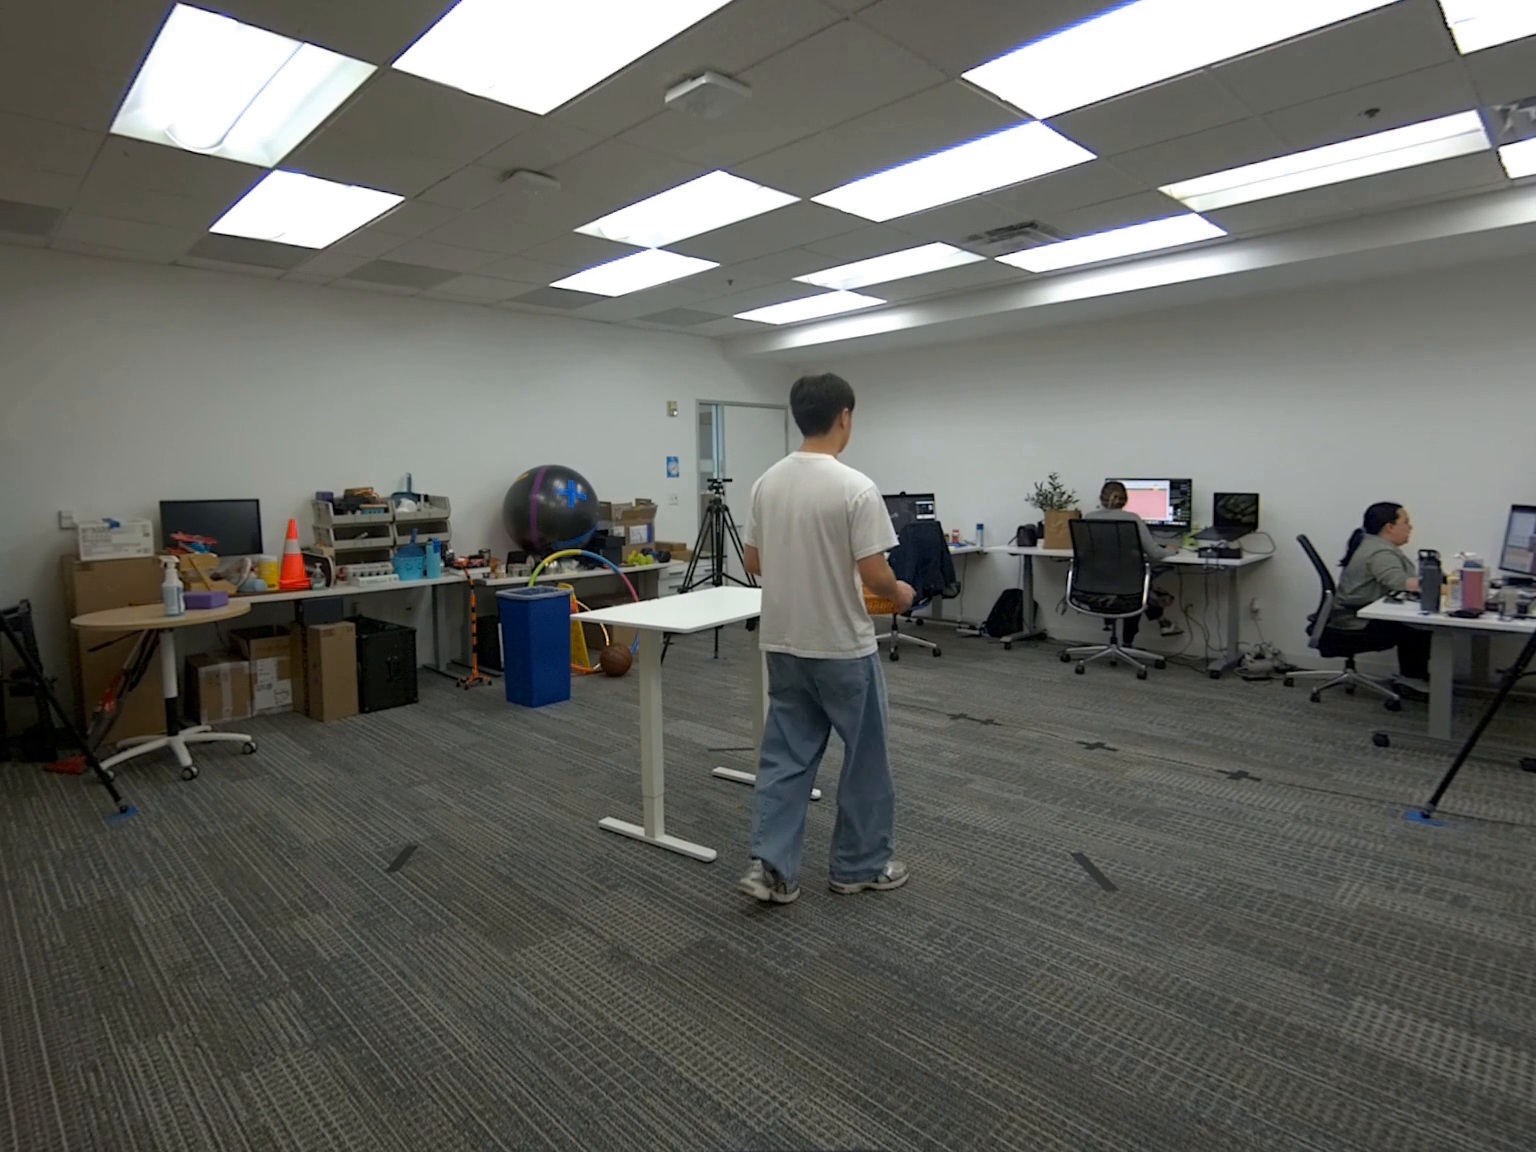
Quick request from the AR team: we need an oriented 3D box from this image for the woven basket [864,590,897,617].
[{"bbox_3d":[0.345,0.083,3.002,0.246,0.073,0.361,-8,10,-40],"label":"woven basket"}]
